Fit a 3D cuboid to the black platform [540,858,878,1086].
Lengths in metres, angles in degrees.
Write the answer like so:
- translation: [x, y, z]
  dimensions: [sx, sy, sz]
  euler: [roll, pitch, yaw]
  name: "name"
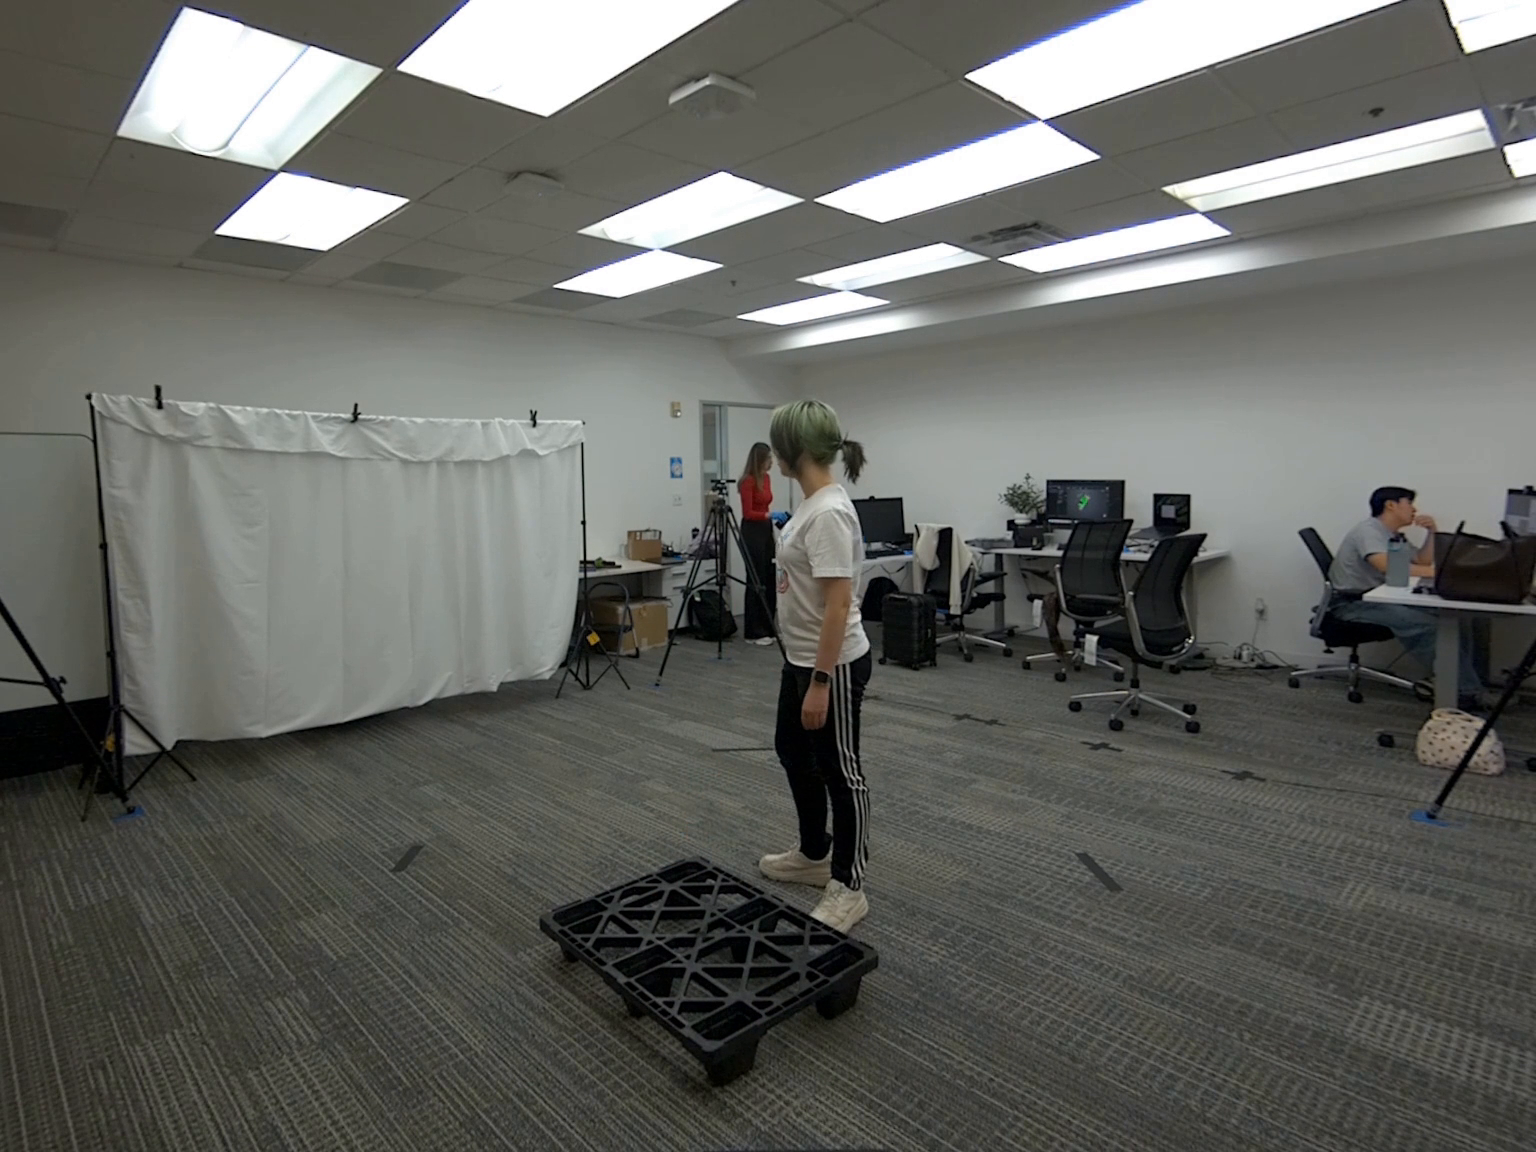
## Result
- translation: [-0.183, 1.069, 2.402]
  dimensions: [0.589, 0.142, 0.831]
  euler: [-7, 9, -41]
  name: "black platform"
